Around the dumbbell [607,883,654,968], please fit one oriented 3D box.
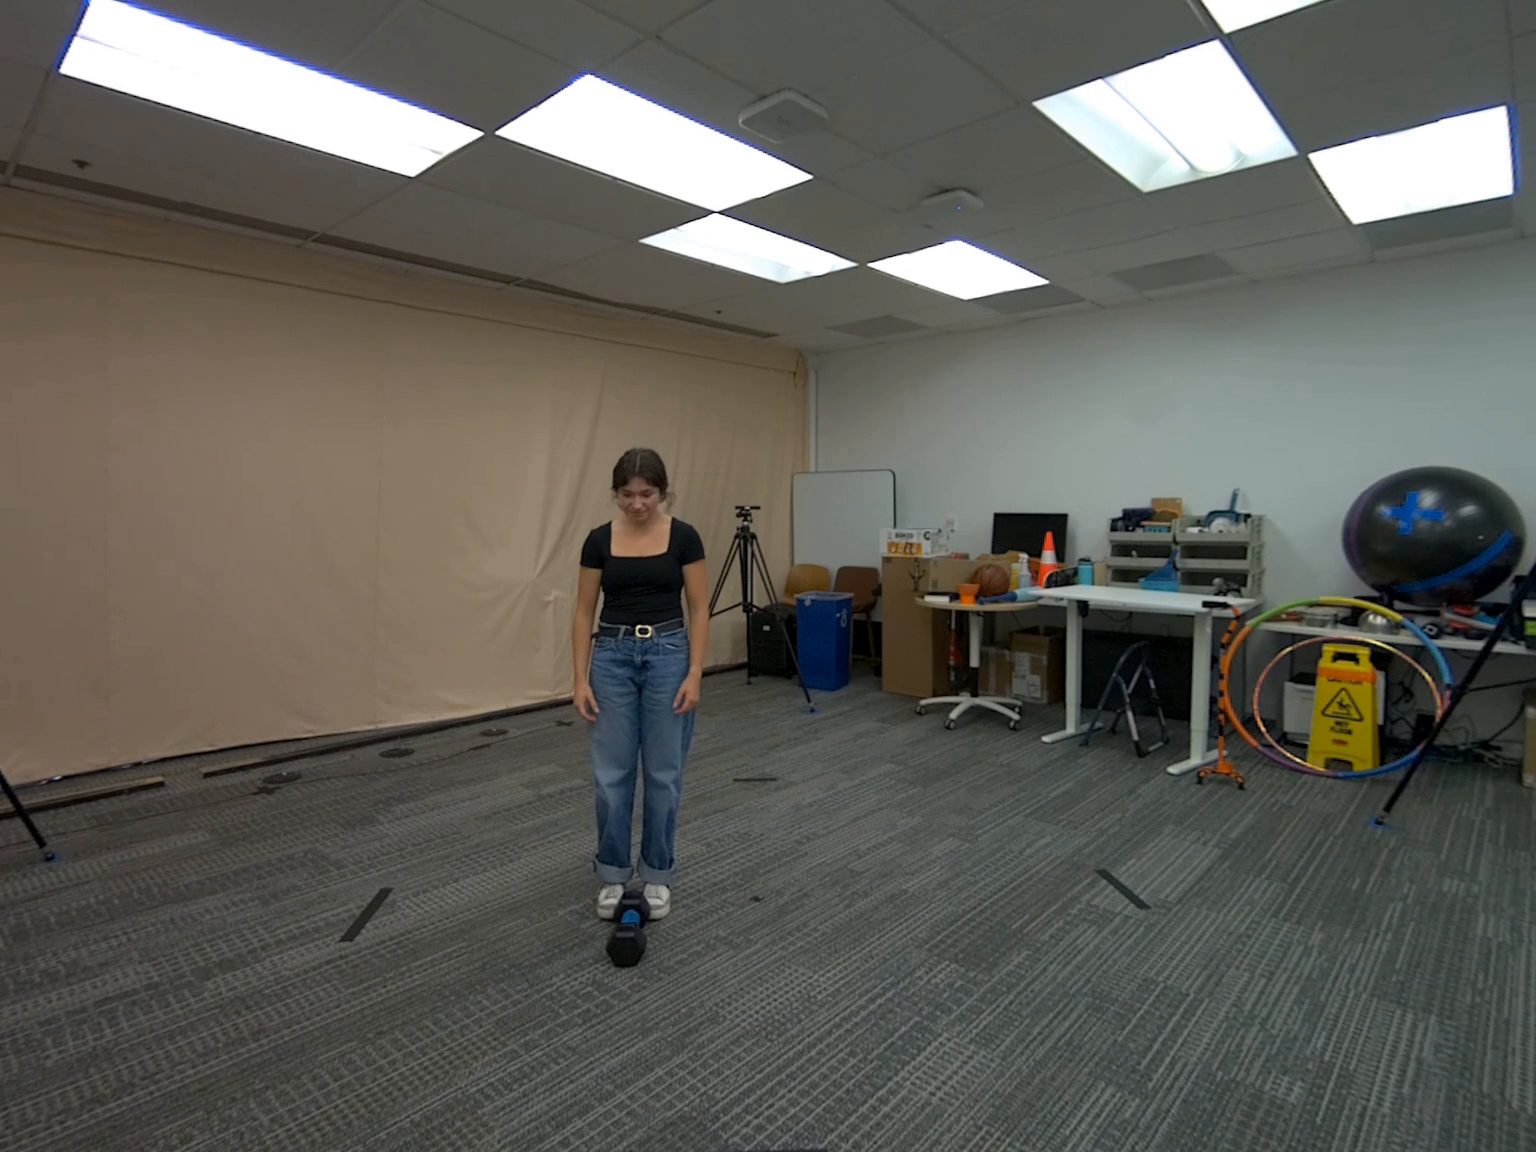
[{"bbox_3d":[-0.443,1.112,2.680,0.108,0.123,0.295,30,2,-6],"label":"dumbbell"}]
